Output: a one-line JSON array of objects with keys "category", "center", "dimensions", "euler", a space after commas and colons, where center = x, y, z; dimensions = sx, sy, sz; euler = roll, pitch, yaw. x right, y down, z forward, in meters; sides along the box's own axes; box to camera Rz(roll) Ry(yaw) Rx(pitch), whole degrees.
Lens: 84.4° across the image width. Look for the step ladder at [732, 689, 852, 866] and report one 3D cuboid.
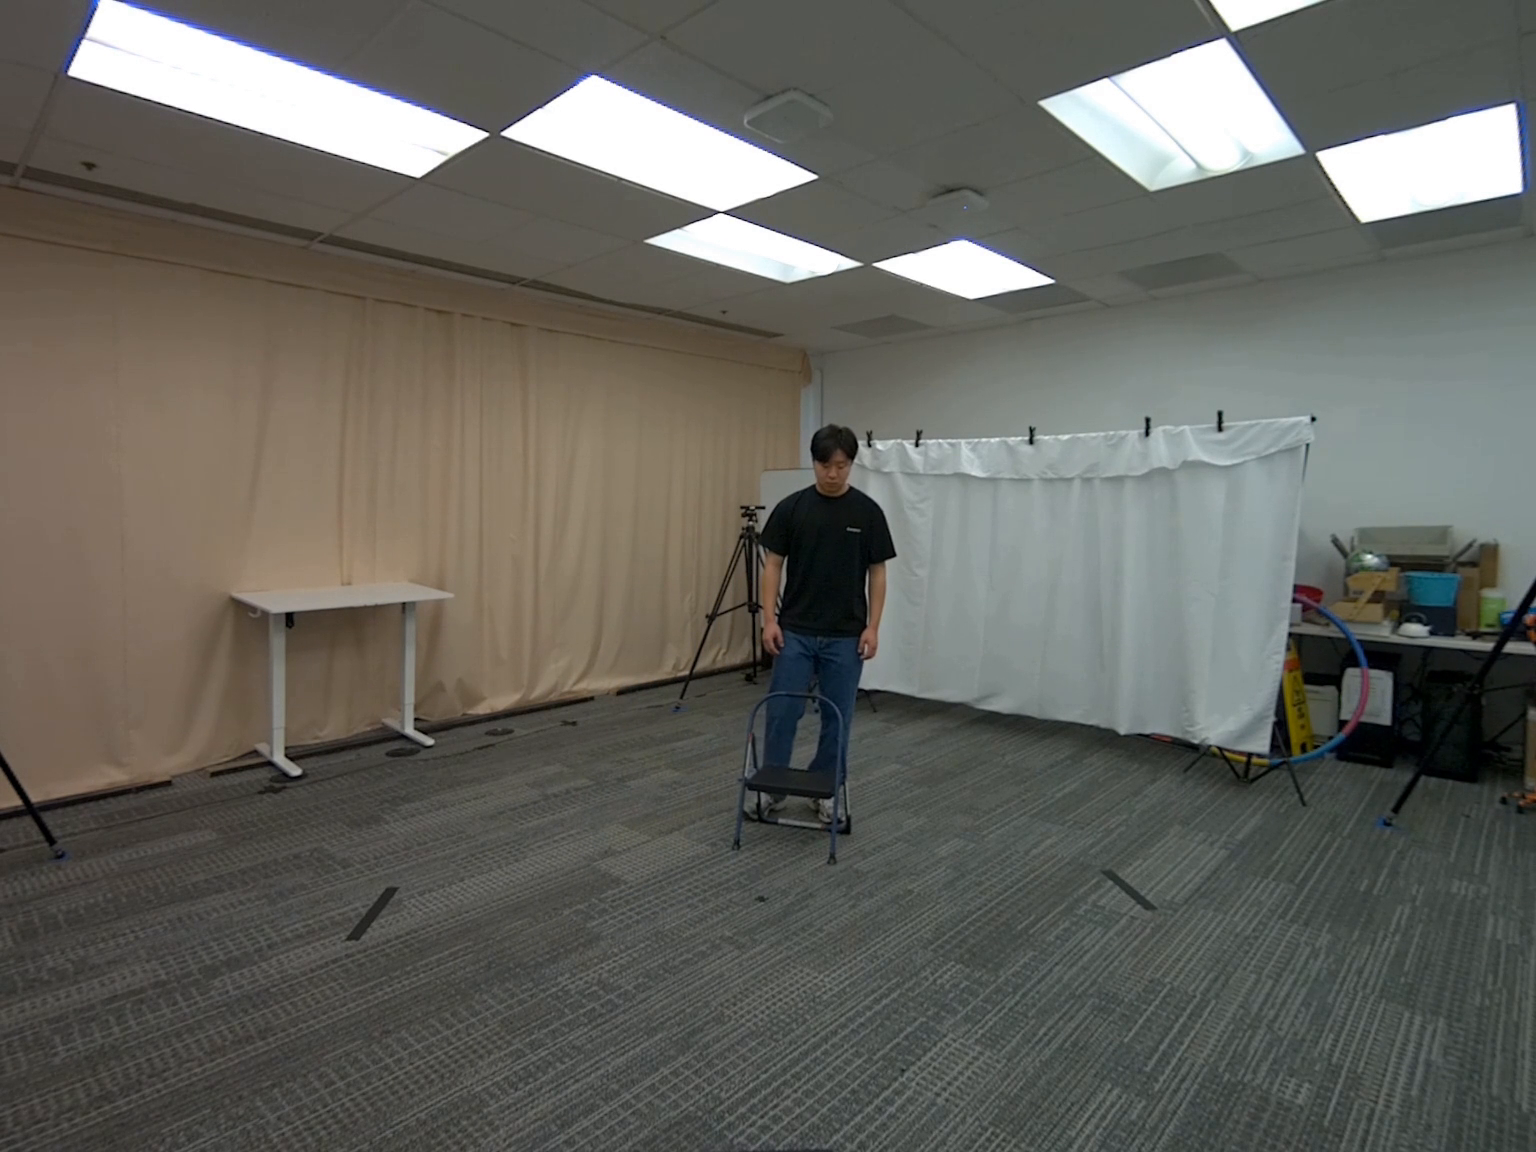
[{"category": "step ladder", "center": [0.114, 0.799, 3.479], "dimensions": [0.440, 0.605, 0.342], "euler": [2, 3, 20]}]
